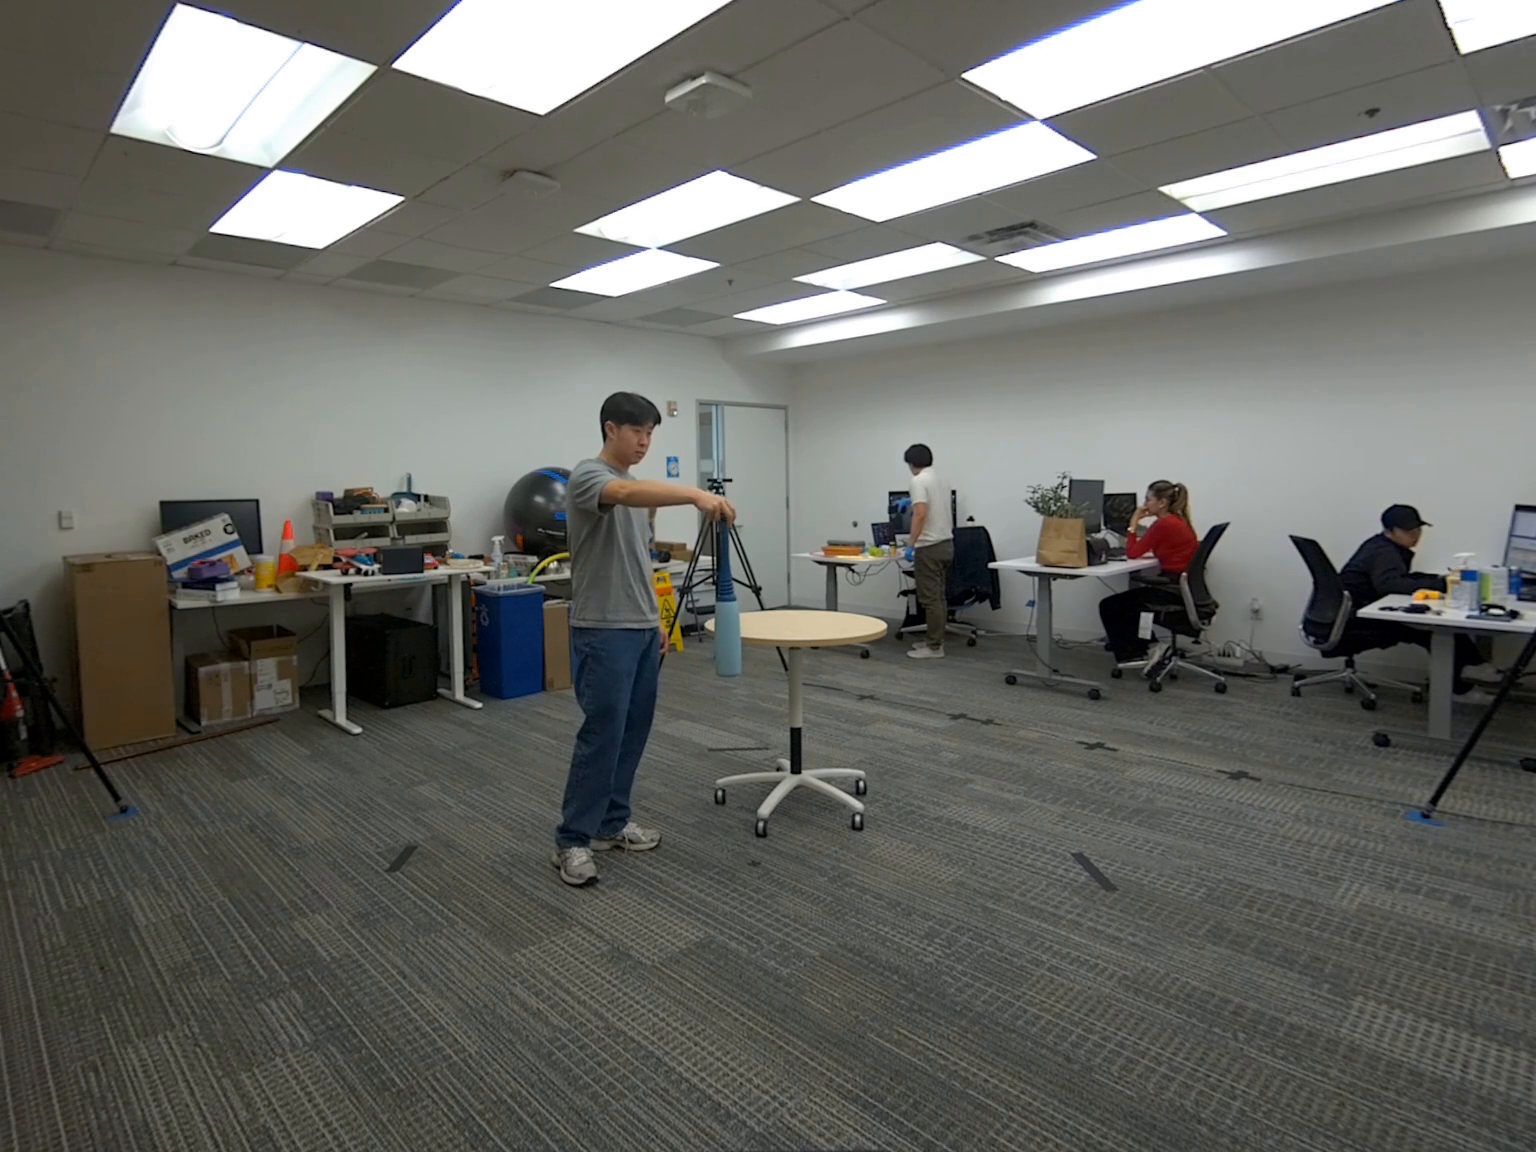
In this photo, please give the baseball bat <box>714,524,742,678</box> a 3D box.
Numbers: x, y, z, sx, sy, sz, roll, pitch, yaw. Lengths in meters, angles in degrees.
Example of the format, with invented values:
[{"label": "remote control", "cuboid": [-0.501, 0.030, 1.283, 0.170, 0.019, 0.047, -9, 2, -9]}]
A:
[{"label": "baseball bat", "cuboid": [-0.141, 0.064, 2.818, 0.089, 0.541, 0.089, 0, 3, -2]}]
